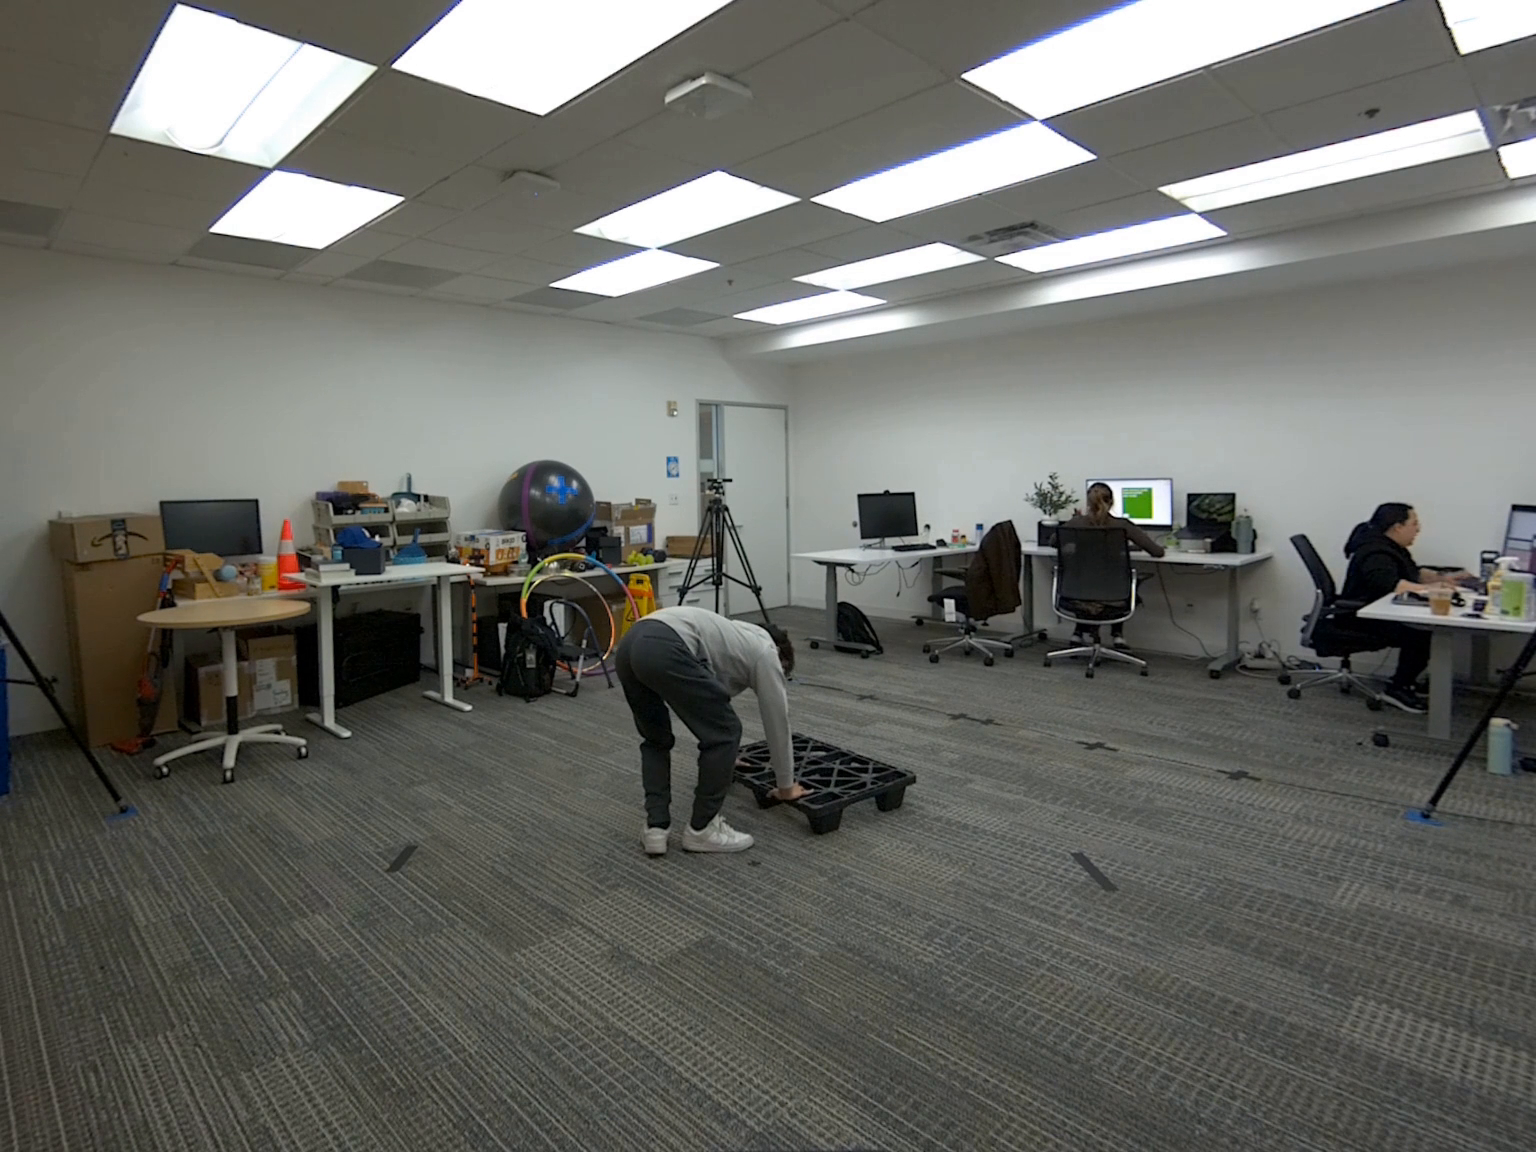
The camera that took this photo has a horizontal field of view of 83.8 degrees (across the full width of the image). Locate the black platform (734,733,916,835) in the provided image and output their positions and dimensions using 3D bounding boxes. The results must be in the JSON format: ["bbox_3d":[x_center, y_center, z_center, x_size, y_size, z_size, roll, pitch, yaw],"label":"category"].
[{"bbox_3d":[0.151,0.897,3.775,0.589,0.143,0.830,-5,8,-38],"label":"black platform"}]
